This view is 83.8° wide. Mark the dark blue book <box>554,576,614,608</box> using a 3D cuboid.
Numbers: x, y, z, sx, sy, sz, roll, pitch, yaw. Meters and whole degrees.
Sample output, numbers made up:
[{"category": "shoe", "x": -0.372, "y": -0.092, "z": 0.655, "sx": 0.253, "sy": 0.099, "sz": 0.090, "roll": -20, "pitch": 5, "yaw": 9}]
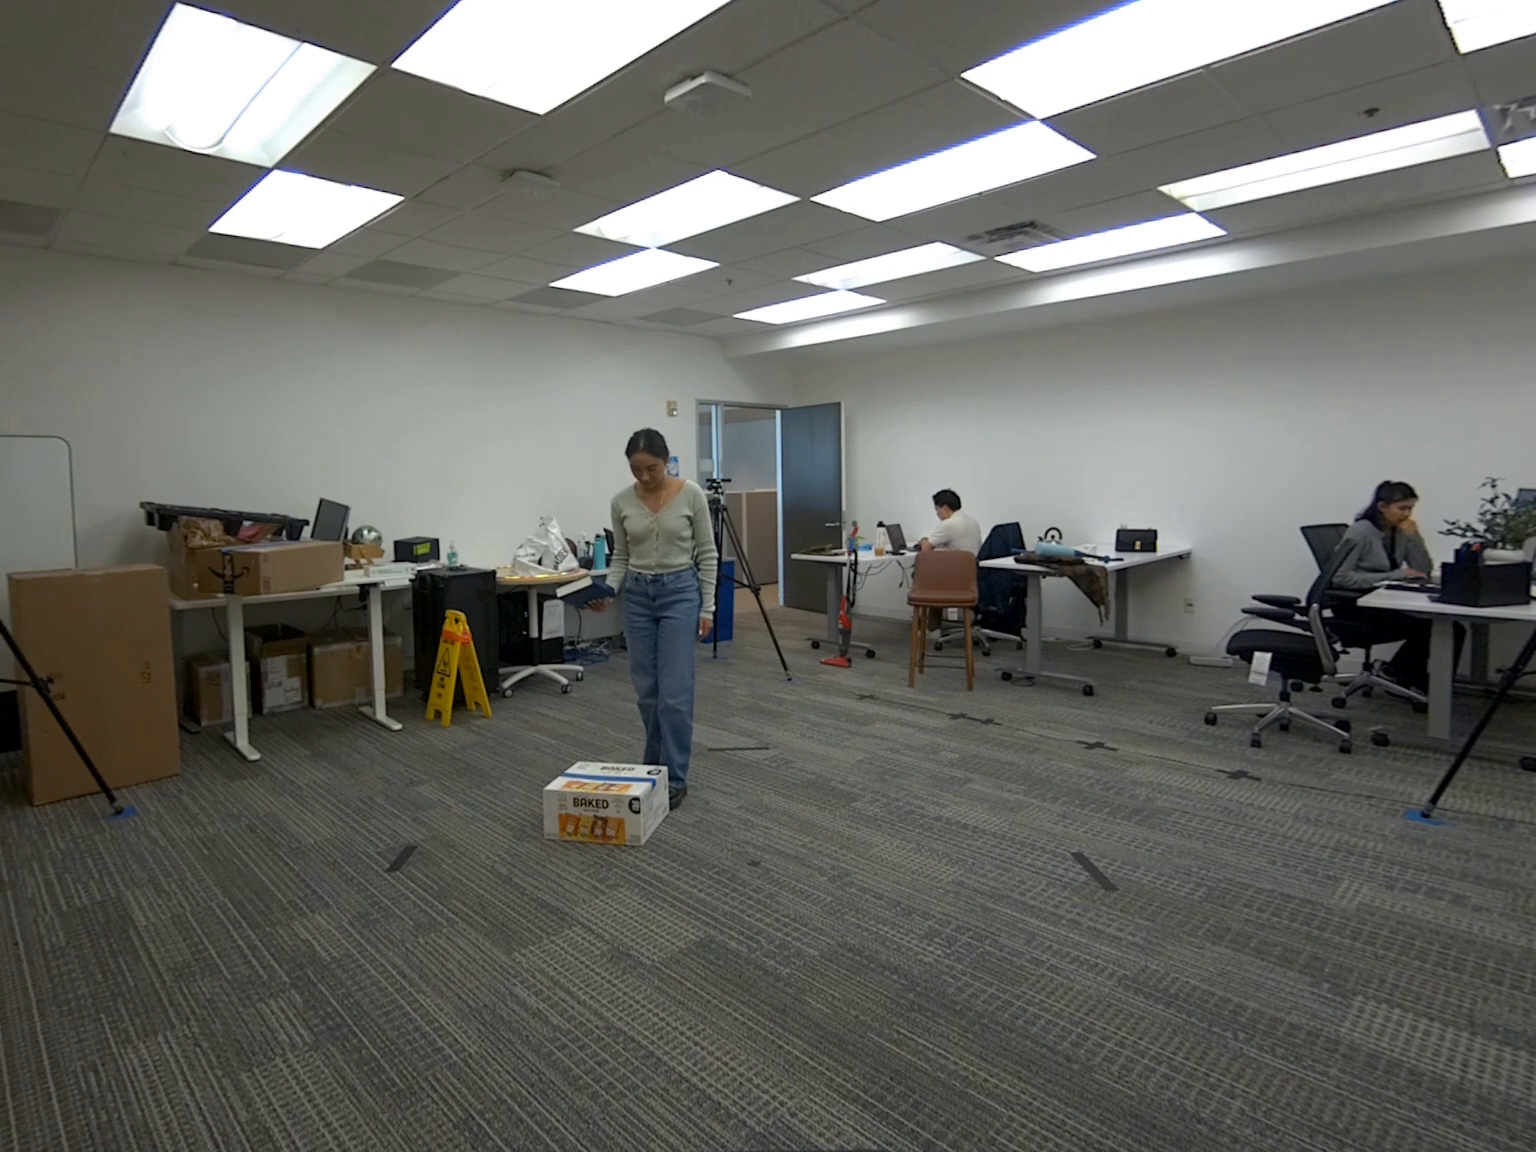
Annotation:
[{"category": "dark blue book", "x": -0.762, "y": 0.070, "z": 3.499, "sx": 0.164, "sy": 0.046, "sz": 0.239, "roll": -21, "pitch": -17, "yaw": 7}]
